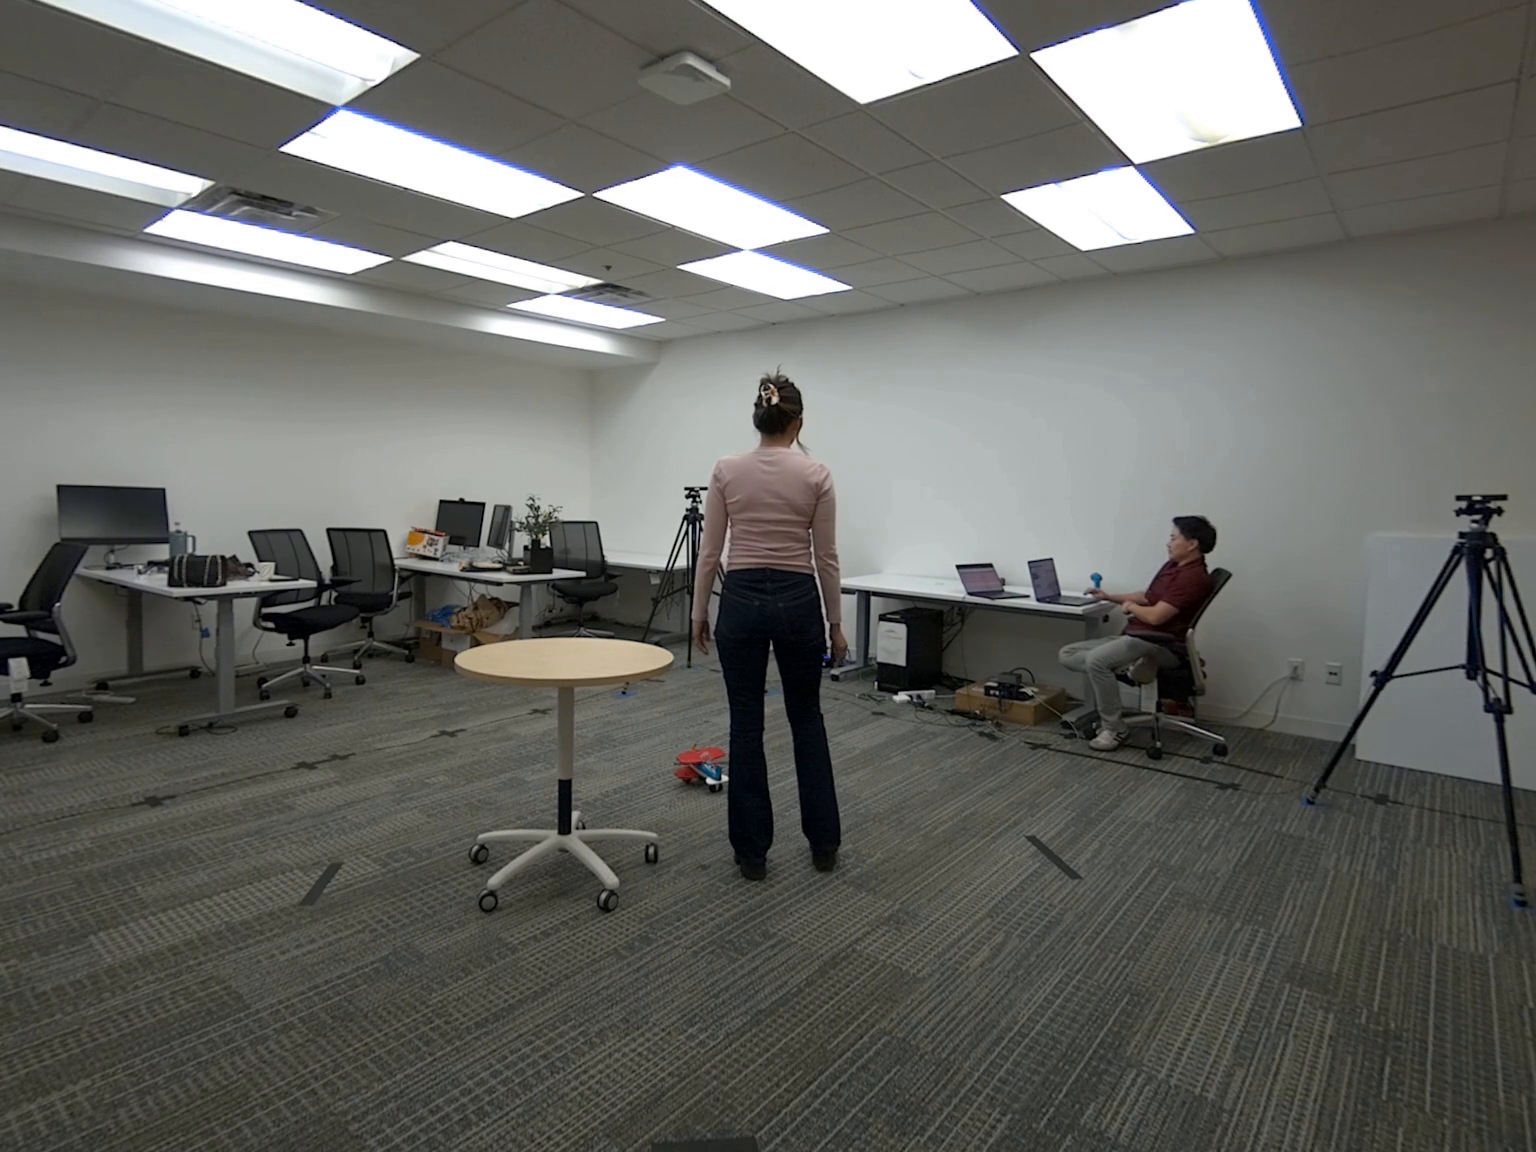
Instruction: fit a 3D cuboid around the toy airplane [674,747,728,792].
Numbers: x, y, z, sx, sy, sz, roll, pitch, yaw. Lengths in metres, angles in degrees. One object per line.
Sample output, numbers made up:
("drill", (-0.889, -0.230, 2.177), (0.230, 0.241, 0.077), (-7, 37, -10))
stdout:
("toy airplane", (-0.302, 0.904, 3.992), (0.266, 0.156, 0.246), (2, 5, 24))
